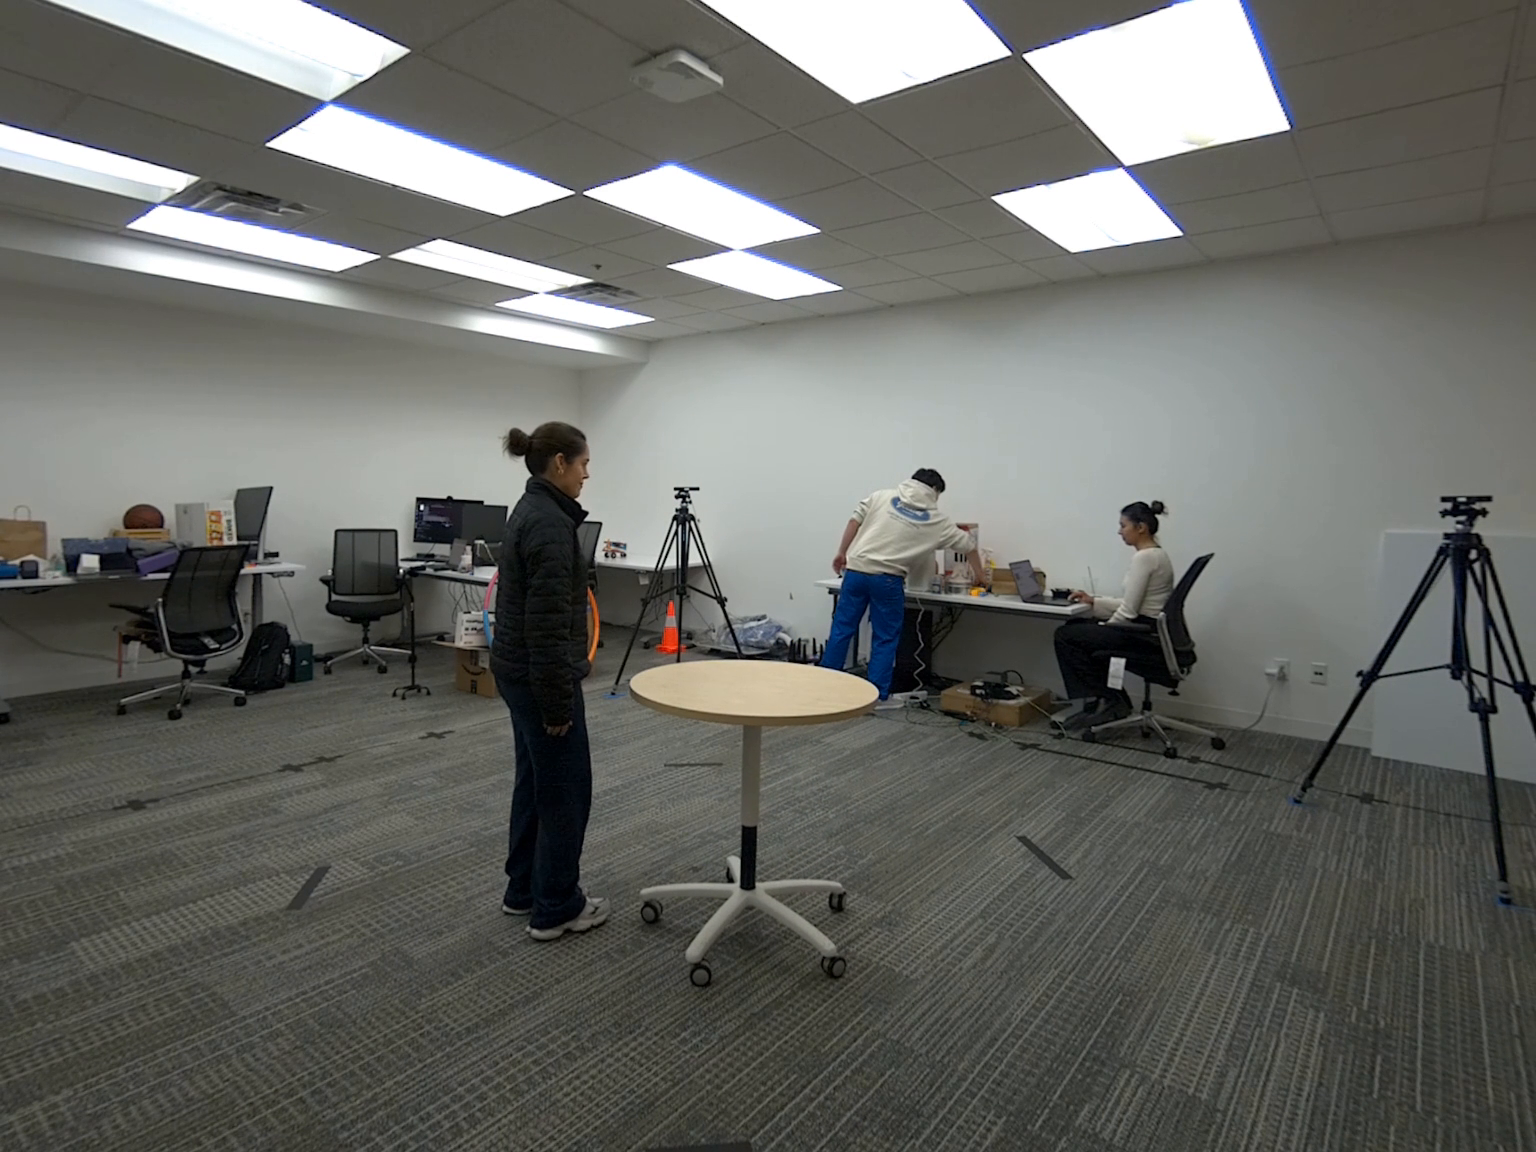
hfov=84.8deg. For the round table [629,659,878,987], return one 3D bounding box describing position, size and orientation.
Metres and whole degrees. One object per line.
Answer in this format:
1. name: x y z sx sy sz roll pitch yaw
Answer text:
1. round table: -0.054 0.722 2.670 0.784 0.784 0.789 1 4 -2
